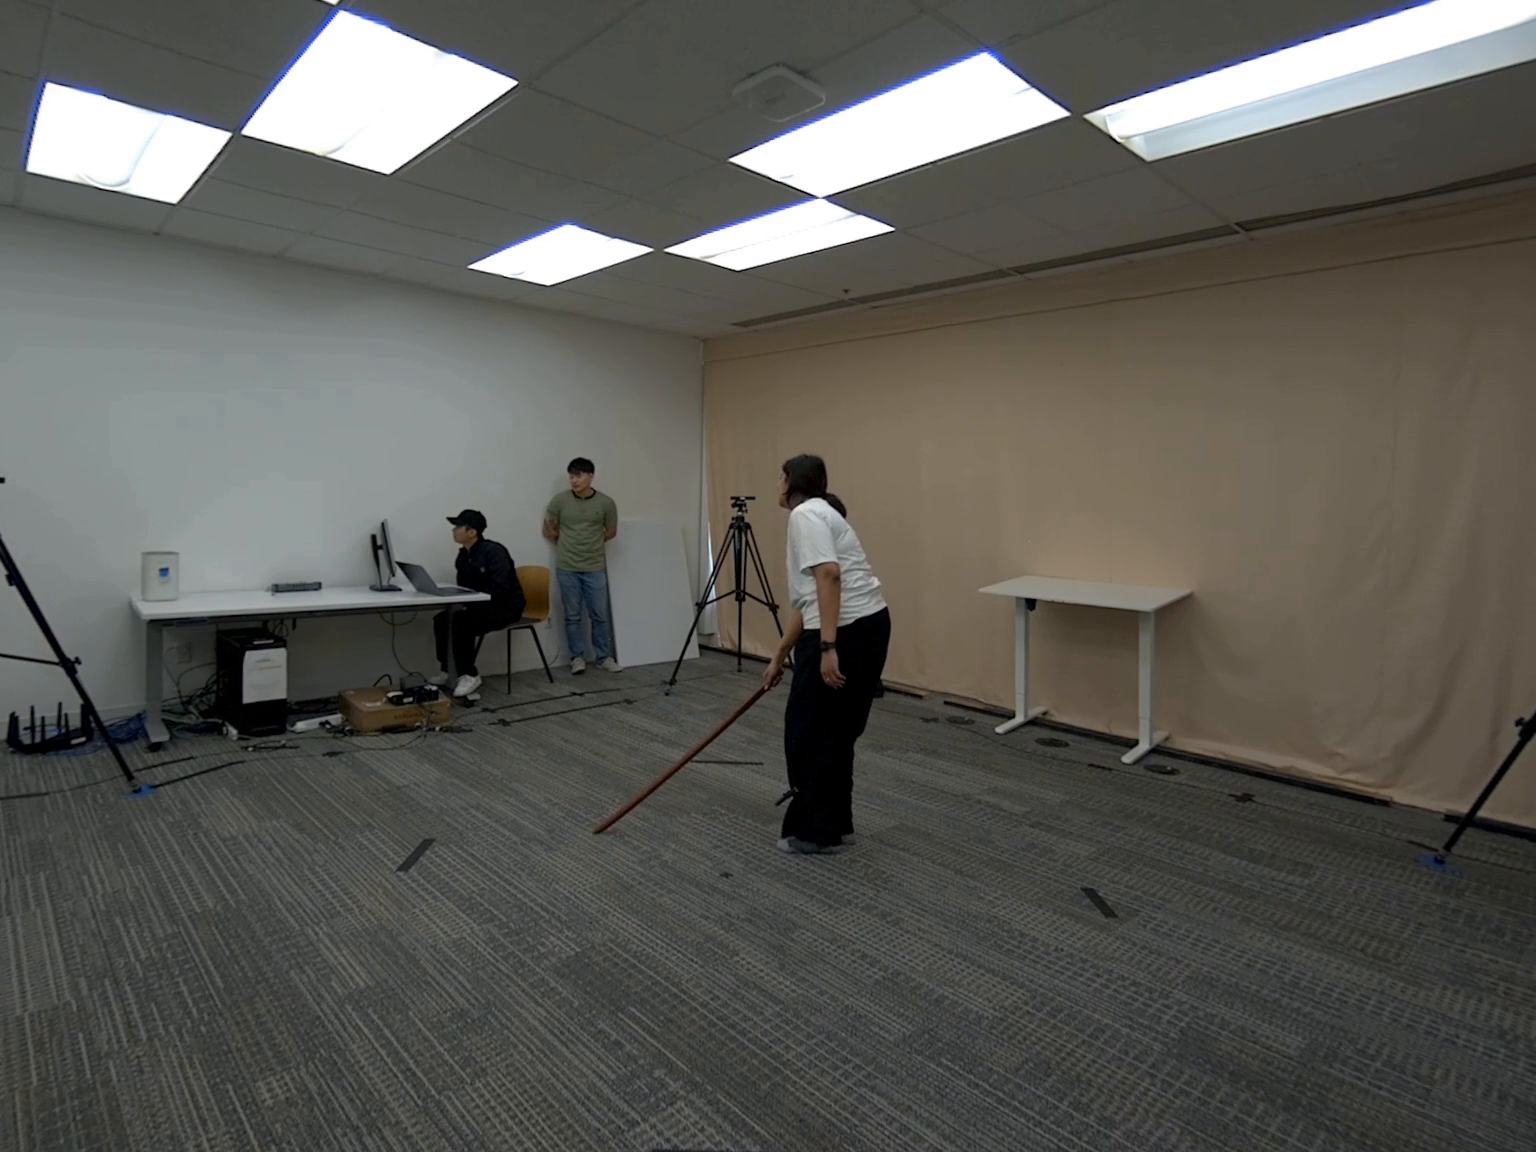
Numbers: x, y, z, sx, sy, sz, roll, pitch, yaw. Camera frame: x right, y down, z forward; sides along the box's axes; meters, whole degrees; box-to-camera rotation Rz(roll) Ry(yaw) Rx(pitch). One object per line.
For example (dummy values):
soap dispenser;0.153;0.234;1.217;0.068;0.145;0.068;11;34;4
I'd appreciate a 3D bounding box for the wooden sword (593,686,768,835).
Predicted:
wooden sword;-0.327;0.738;3.531;1.023;0.050;0.024;-39;17;-10
